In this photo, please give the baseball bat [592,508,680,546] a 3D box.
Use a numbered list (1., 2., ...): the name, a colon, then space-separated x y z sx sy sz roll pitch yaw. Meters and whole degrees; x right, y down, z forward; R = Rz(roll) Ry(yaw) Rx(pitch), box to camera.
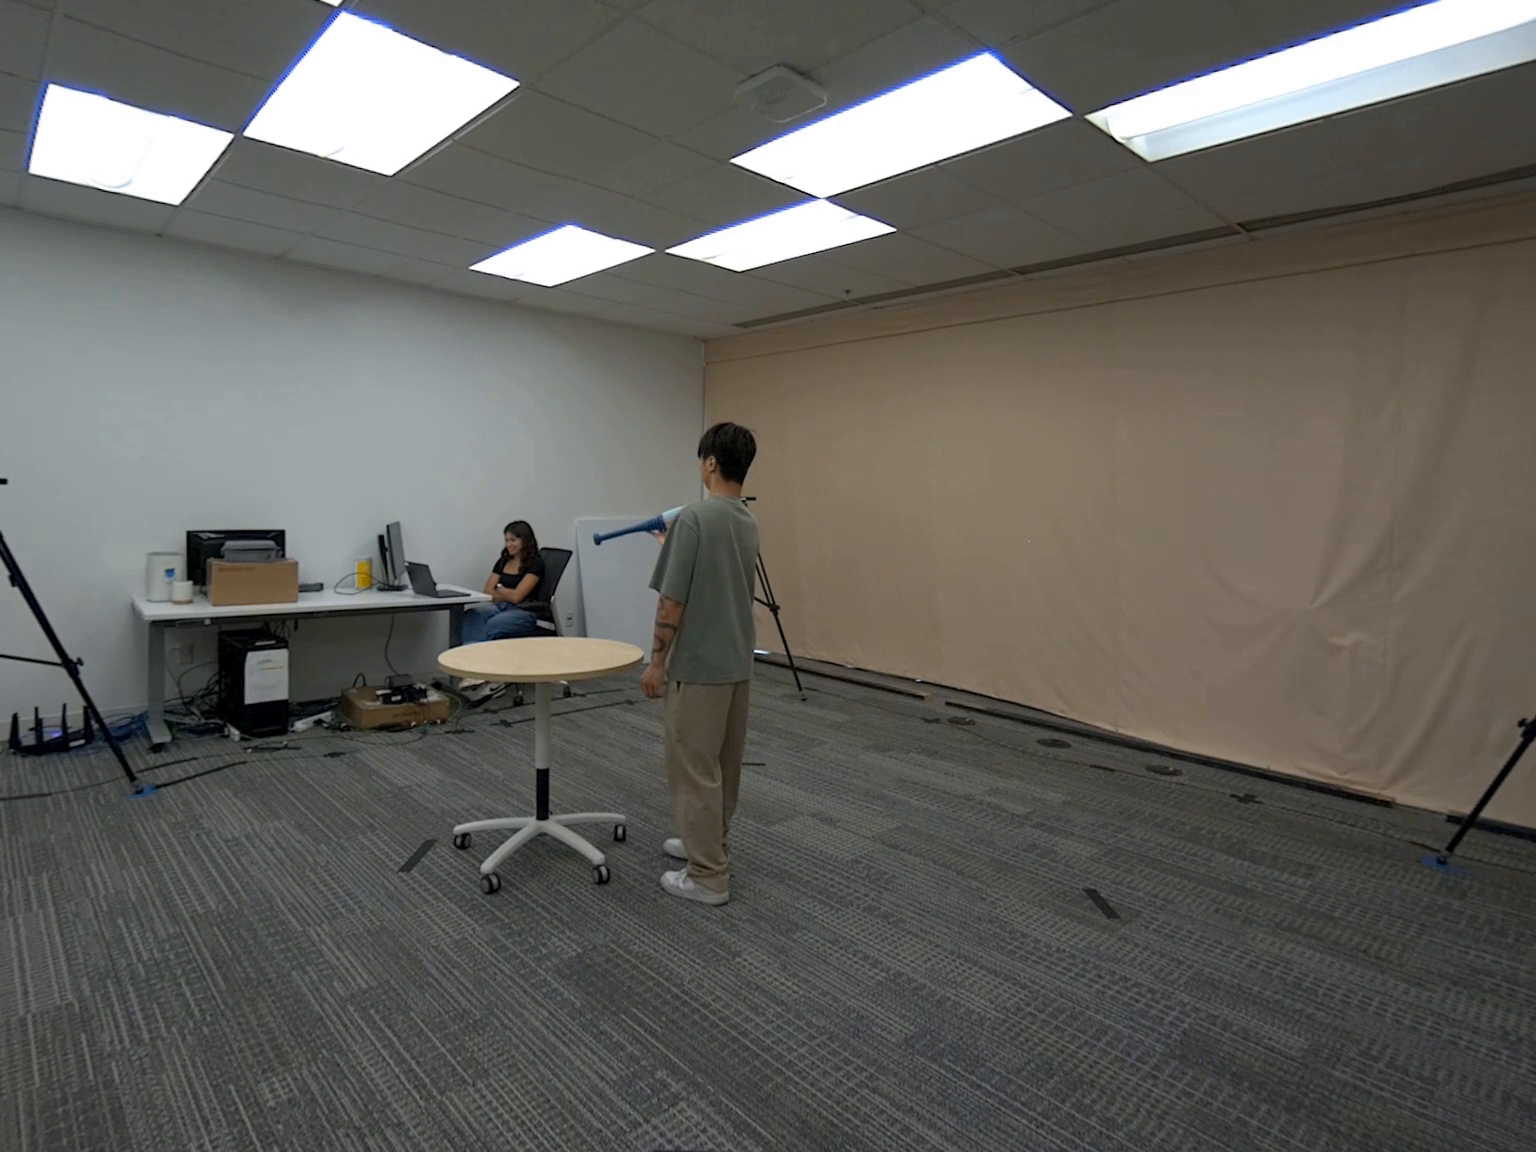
1. baseball bat: -0.454 -0.213 3.417 0.541 0.088 0.090 -16 7 -7
